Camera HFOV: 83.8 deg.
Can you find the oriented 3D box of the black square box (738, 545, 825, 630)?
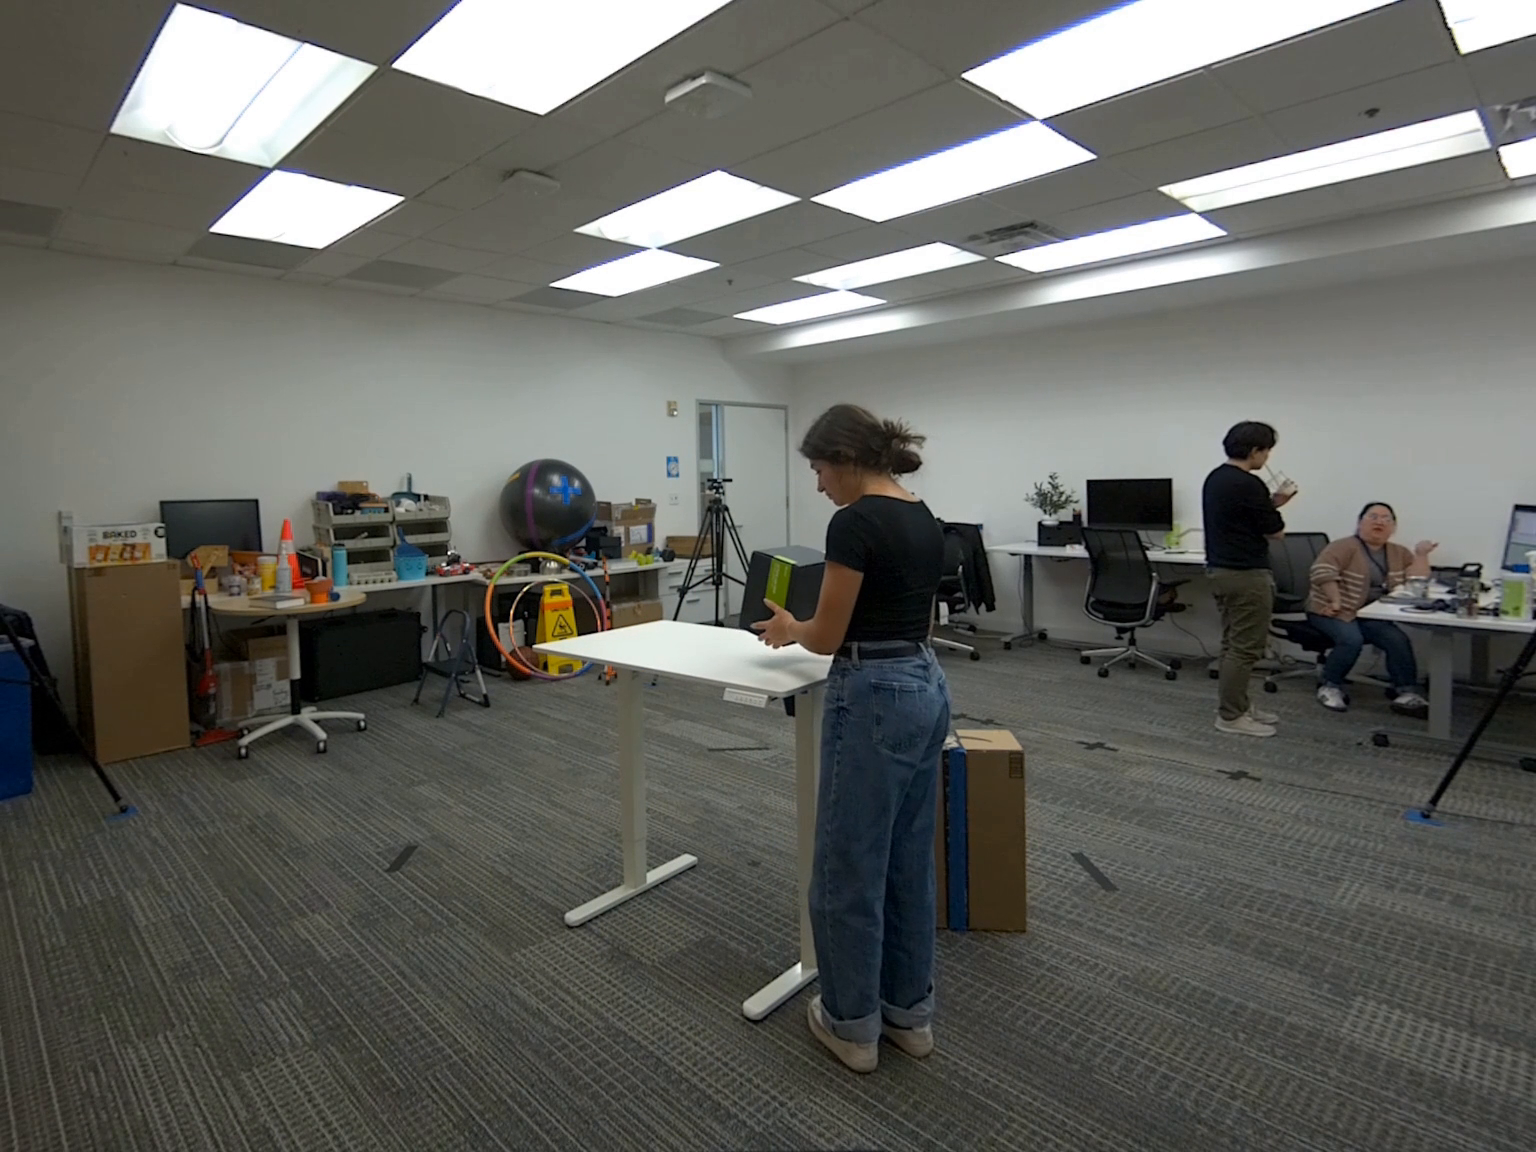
[{"bbox_3d":[0.066,0.050,2.363,0.161,0.226,0.211,19,16,40],"label":"black square box"}]
